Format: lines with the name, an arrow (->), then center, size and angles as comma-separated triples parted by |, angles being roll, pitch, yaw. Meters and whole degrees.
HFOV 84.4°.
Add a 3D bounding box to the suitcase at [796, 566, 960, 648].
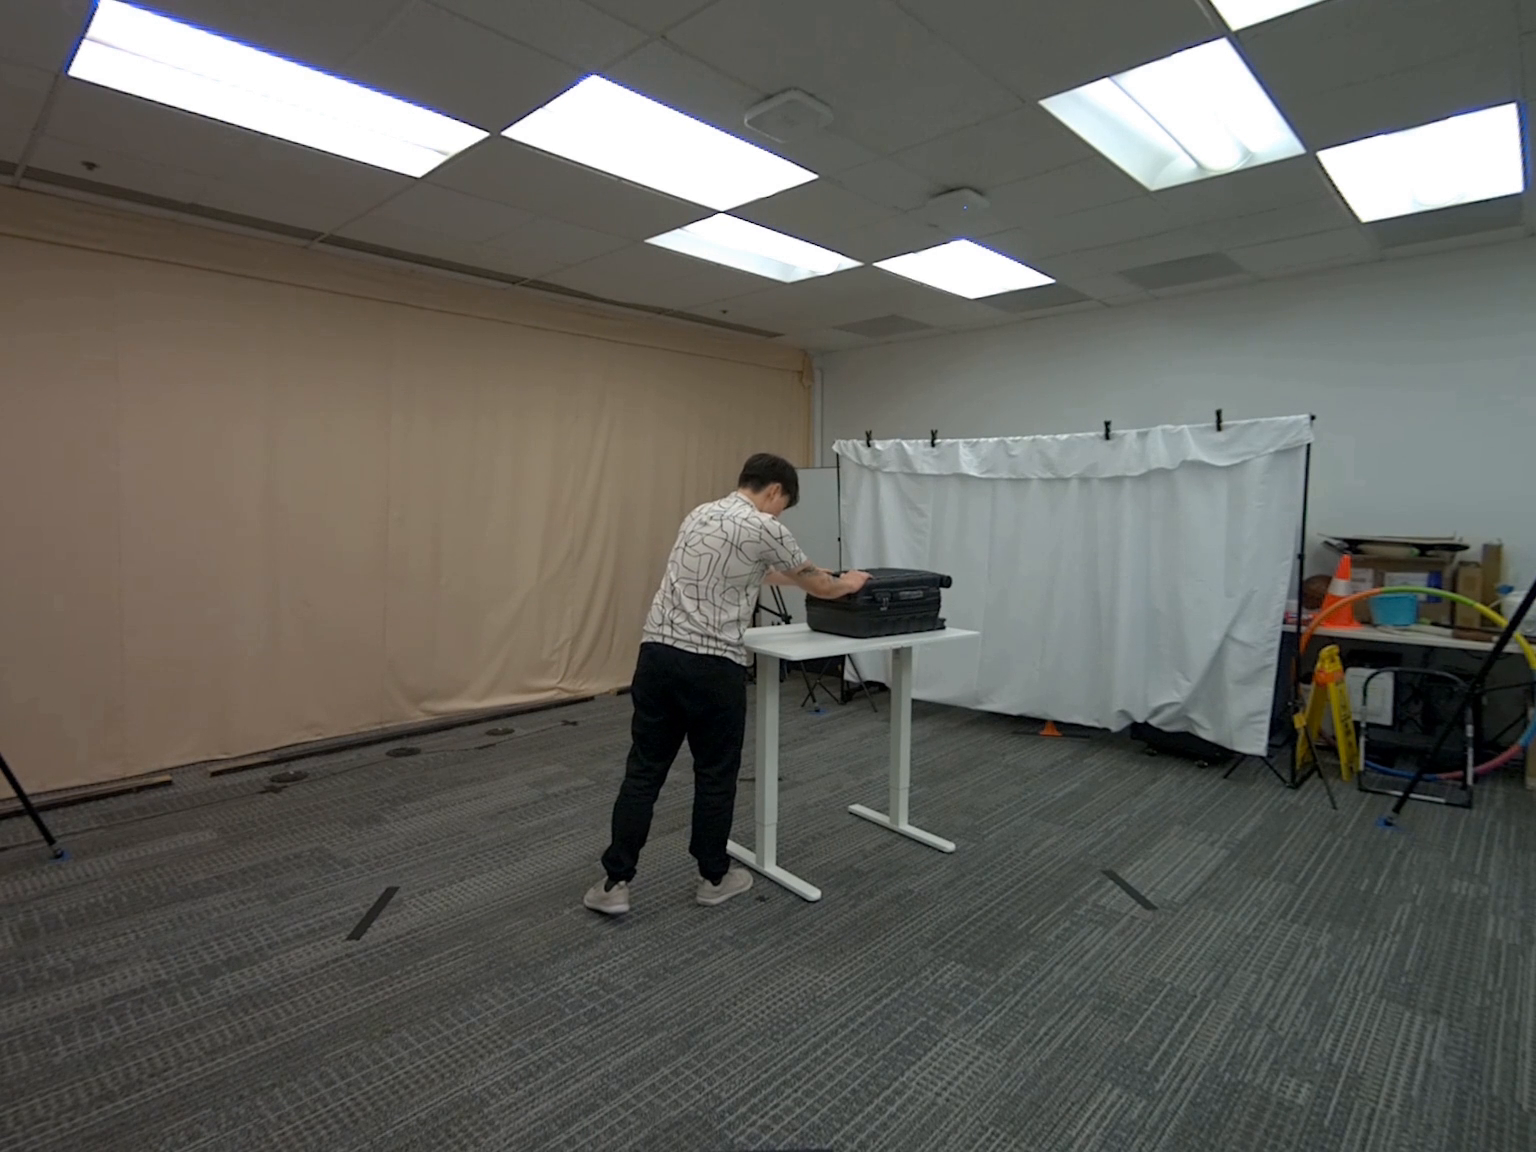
suitcase -> 0.445, 0.108, 3.440 | 0.533, 0.247, 0.388 | -4, 7, -39
